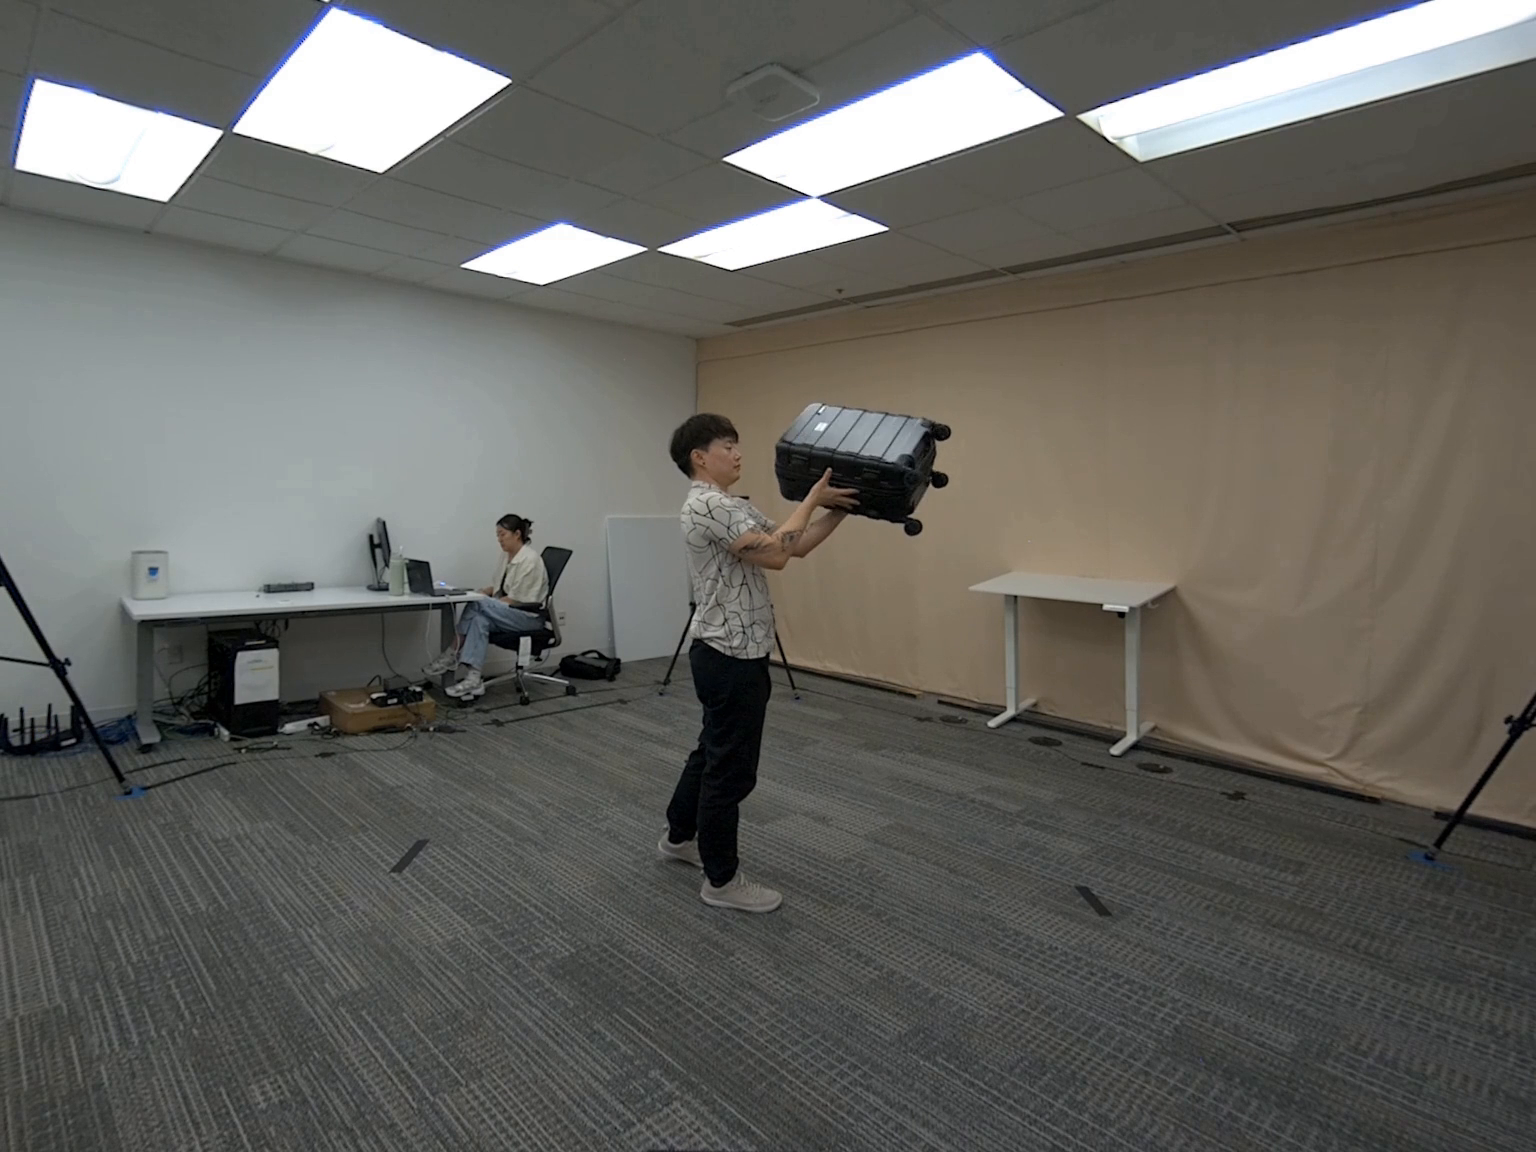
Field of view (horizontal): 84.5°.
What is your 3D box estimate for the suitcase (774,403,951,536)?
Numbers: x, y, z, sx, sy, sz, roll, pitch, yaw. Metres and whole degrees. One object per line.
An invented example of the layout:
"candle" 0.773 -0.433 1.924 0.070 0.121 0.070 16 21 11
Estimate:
"suitcase" 0.317 -0.399 2.944 0.561 0.242 0.376 15 46 25
